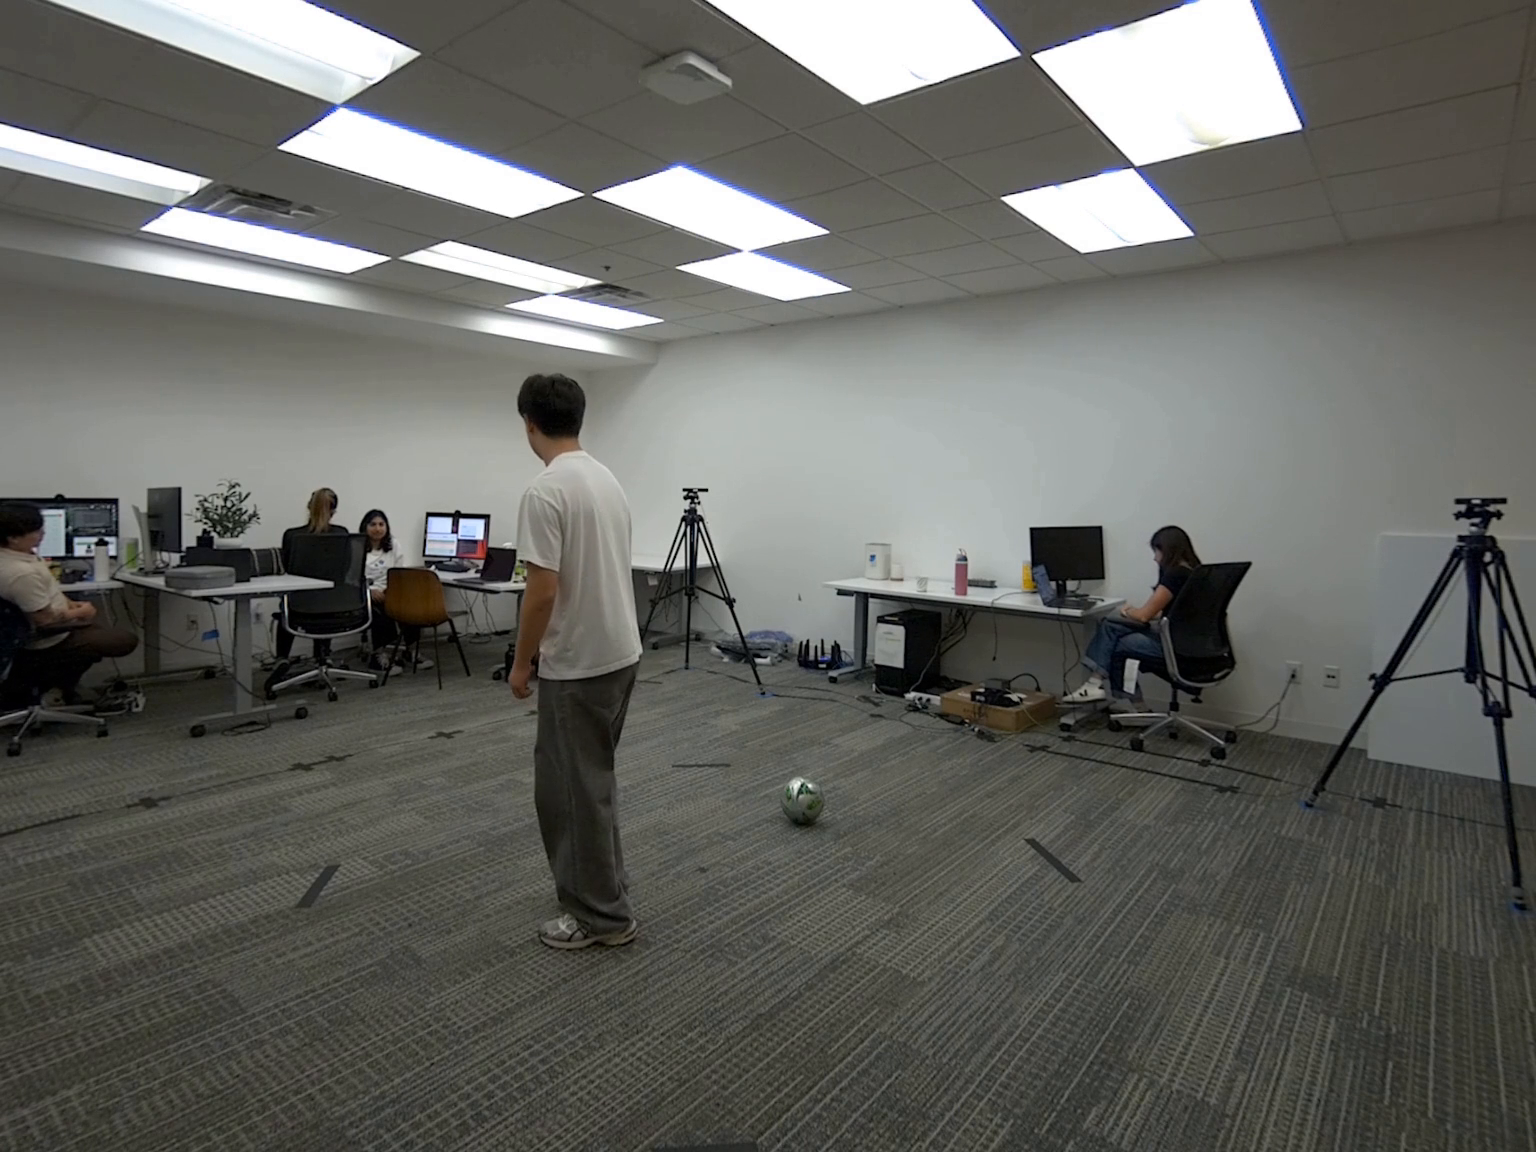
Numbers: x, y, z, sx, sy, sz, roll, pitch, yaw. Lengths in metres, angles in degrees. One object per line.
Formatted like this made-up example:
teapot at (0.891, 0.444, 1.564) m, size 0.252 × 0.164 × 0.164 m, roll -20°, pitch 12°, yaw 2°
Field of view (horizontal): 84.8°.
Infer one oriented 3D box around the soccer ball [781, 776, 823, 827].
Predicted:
soccer ball at (0.146, 0.932, 3.577) m, size 0.187 × 0.187 × 0.188 m, roll 1°, pitch 4°, yaw -2°
